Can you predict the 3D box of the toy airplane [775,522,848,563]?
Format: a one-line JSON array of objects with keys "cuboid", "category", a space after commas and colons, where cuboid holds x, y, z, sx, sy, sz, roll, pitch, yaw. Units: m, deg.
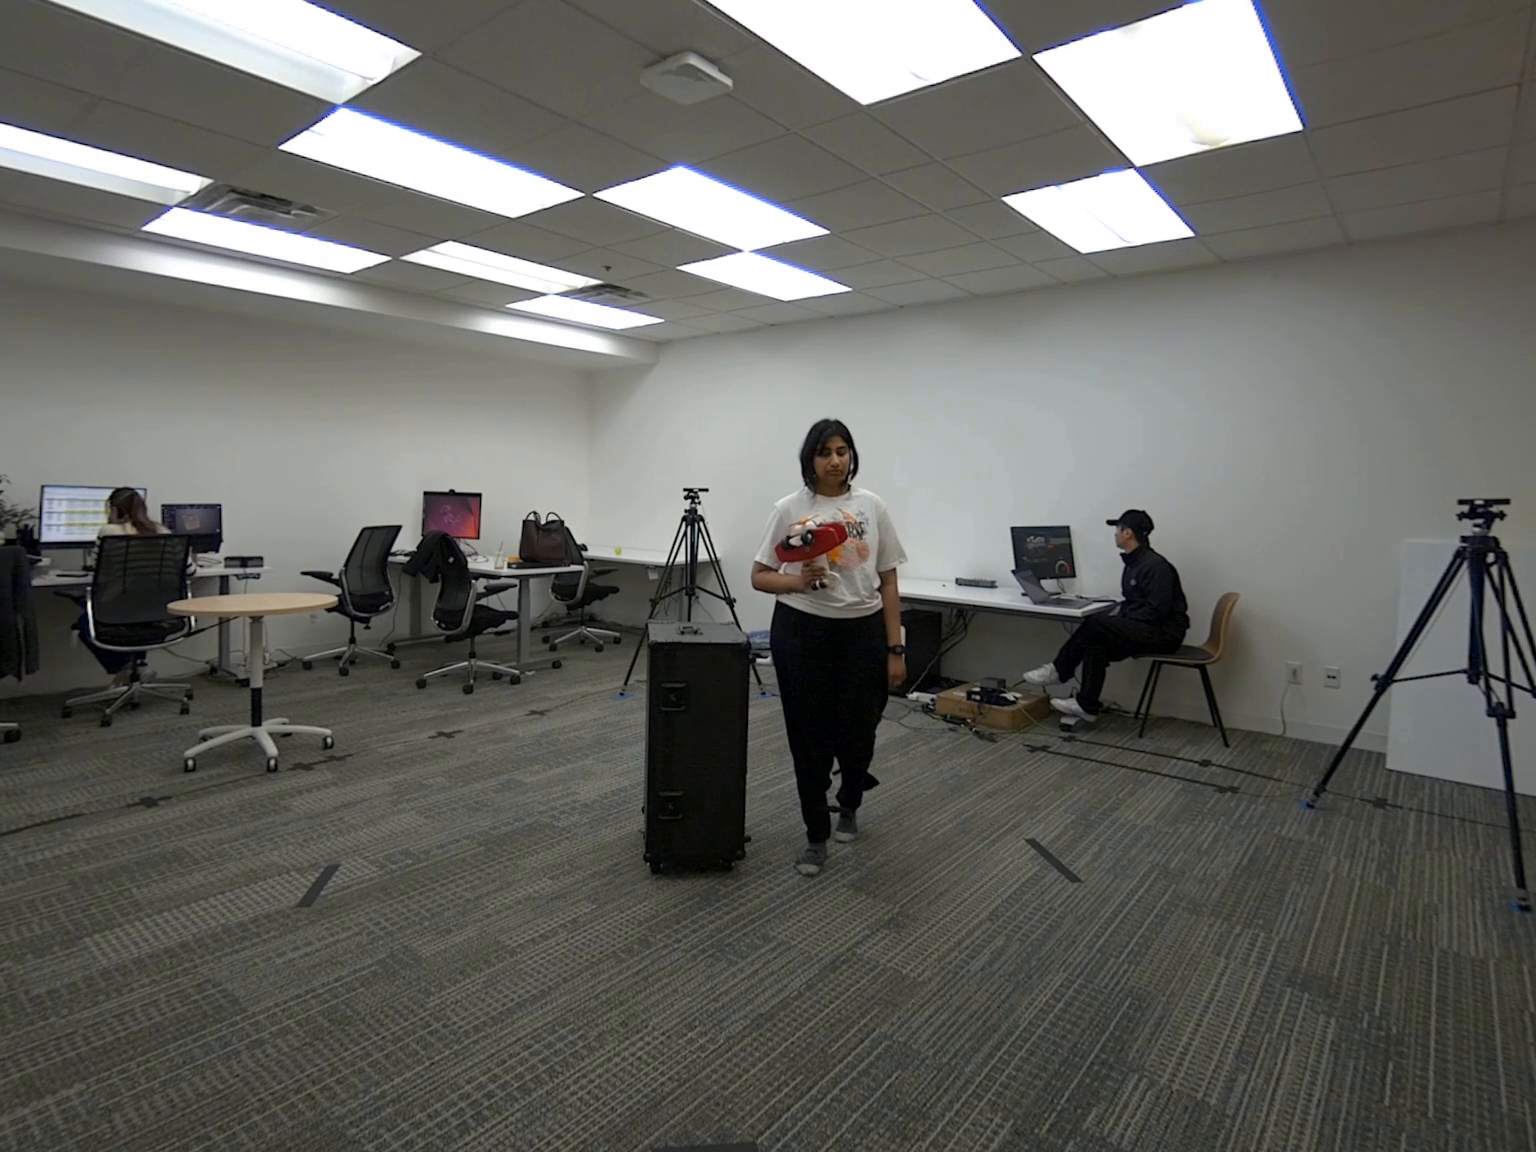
[{"cuboid": [0.137, -0.080, 3.011, 0.258, 0.252, 0.156, 11, 34, 23], "category": "toy airplane"}]
